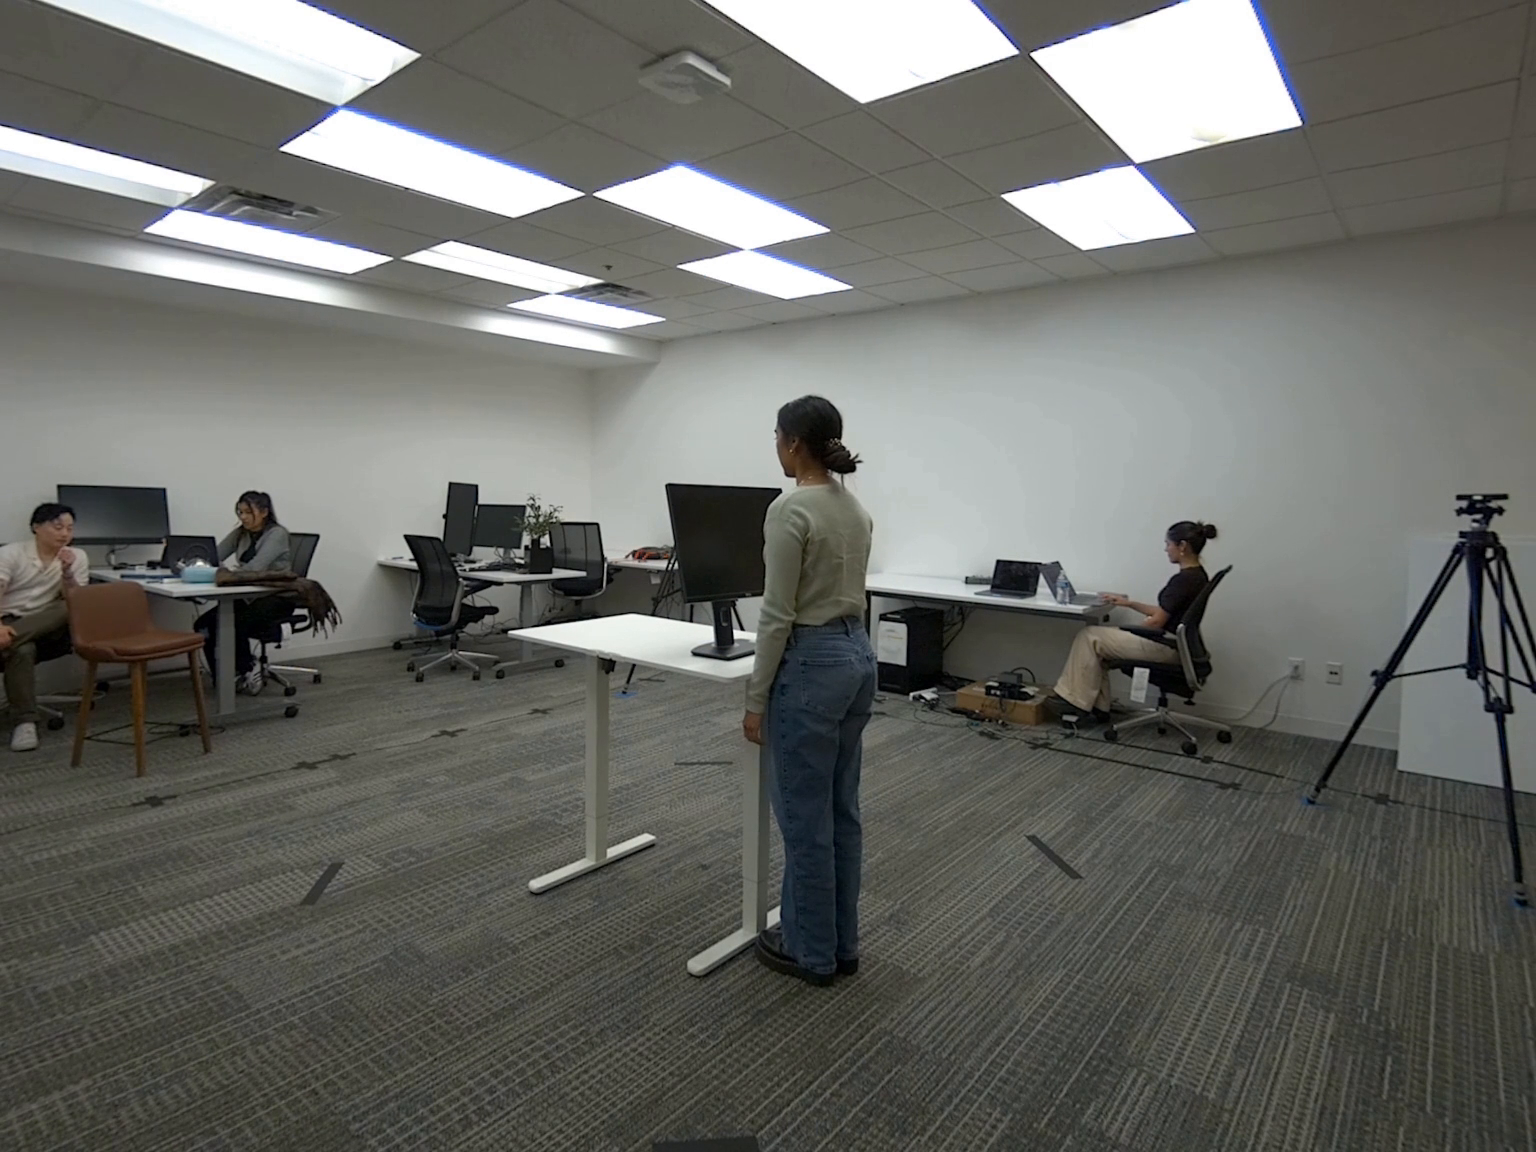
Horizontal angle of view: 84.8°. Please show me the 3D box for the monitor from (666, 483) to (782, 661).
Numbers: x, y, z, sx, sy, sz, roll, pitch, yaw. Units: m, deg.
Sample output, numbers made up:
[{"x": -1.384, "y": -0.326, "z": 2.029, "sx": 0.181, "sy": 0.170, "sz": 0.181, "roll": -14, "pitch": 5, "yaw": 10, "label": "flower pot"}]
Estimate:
[{"x": -0.124, "y": -0.018, "z": 2.648, "sx": 0.193, "sy": 0.522, "sz": 0.523, "roll": 0, "pitch": 2, "yaw": 38, "label": "monitor"}]
